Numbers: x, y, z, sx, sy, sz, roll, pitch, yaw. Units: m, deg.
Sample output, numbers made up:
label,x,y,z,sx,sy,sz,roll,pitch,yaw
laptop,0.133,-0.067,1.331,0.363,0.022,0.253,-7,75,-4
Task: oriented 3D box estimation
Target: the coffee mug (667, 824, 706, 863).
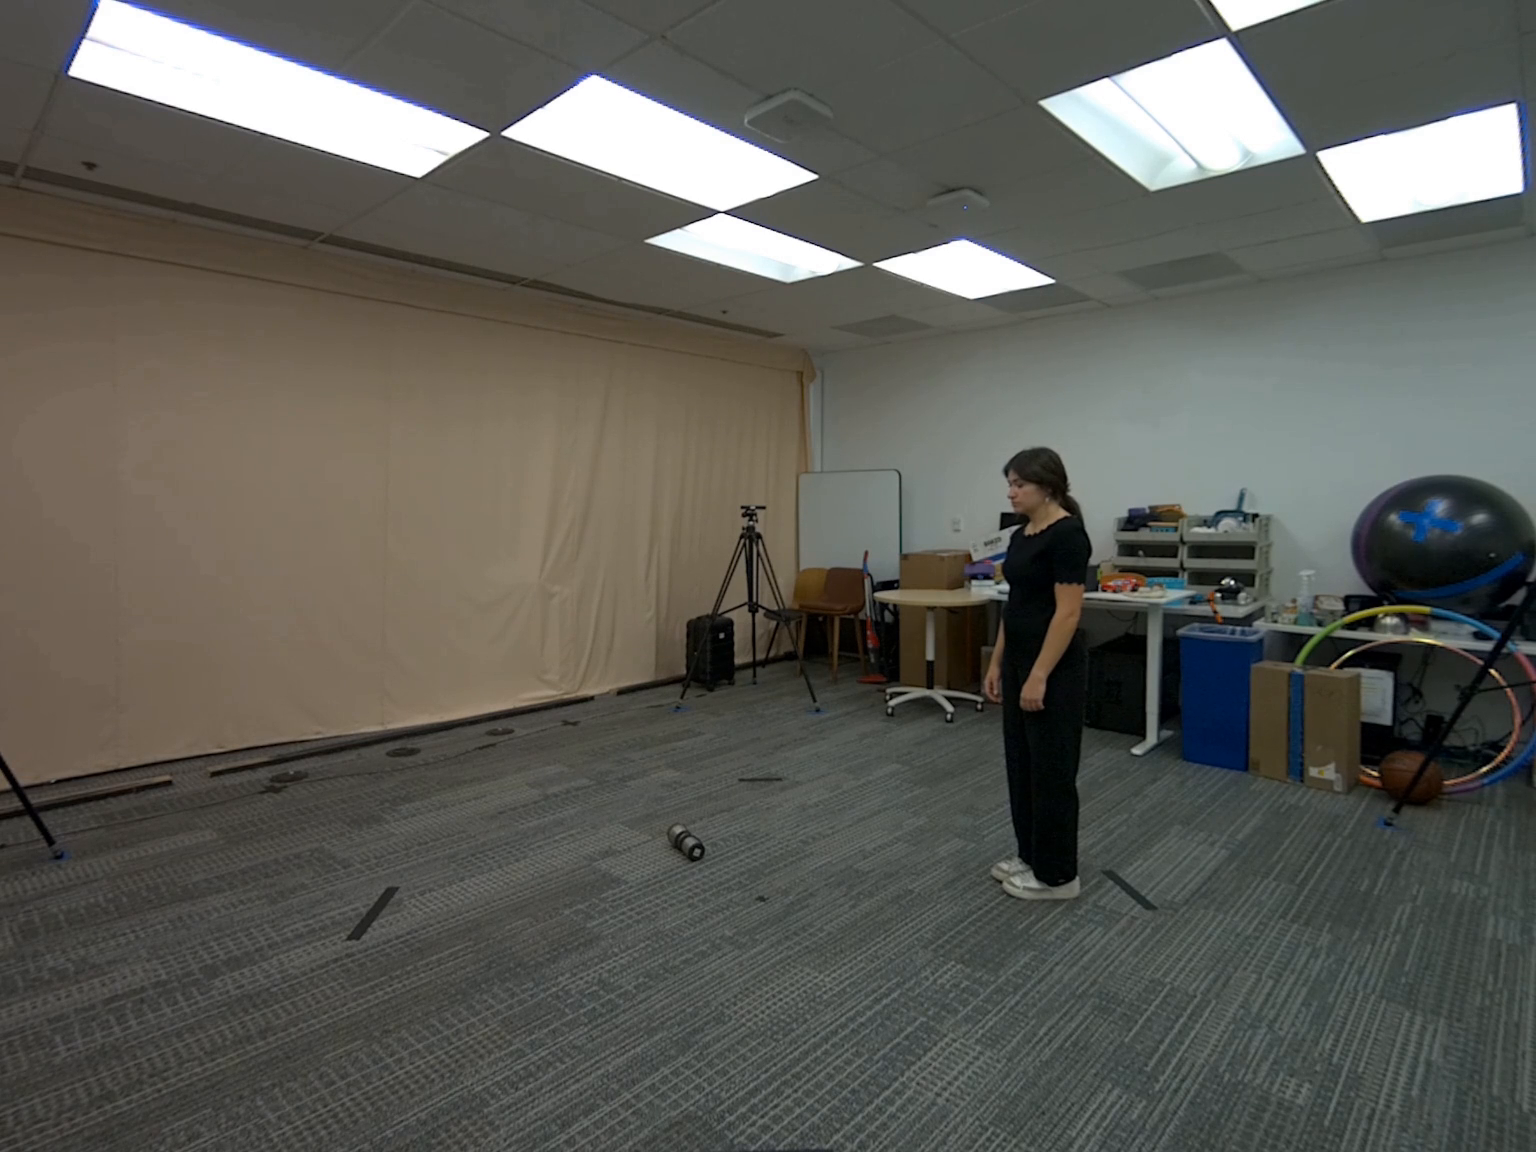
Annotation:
label,x,y,z,sx,sy,sz,roll,pitch,yaw
coffee mug,-0.312,1.063,3.393,0.119,0.087,0.209,-19,16,-30
